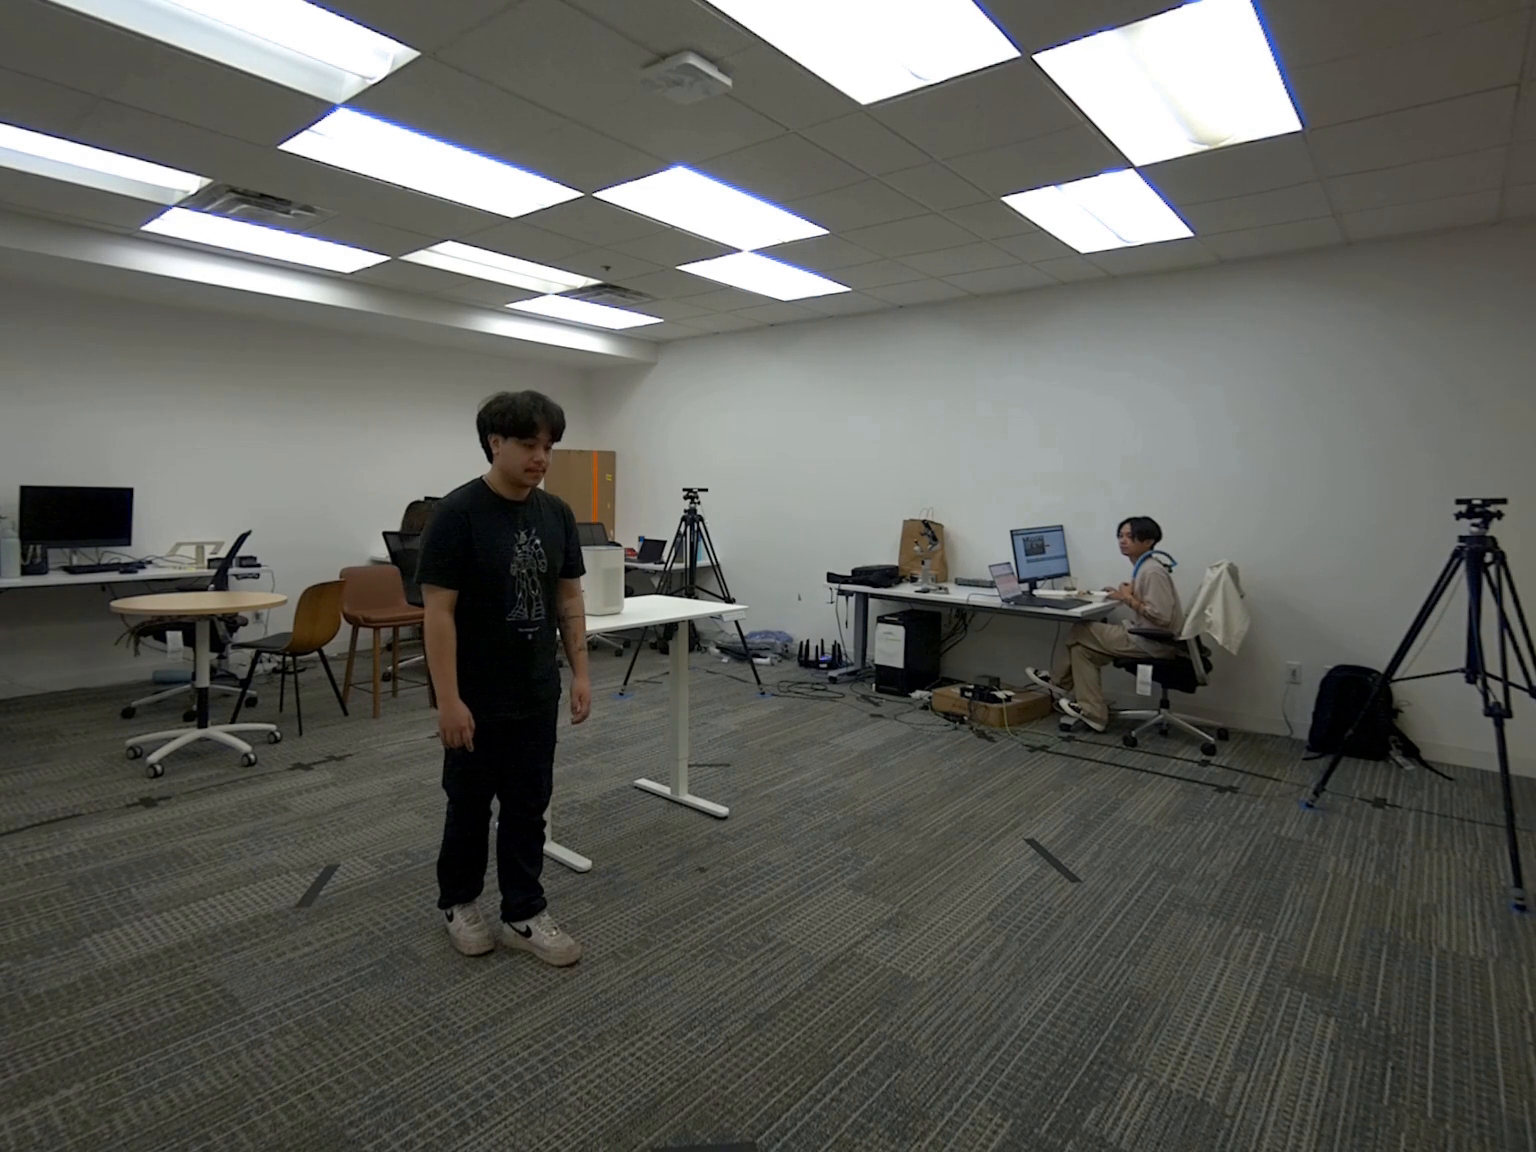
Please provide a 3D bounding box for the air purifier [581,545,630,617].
[{"bbox_3d":[-0.688,0.015,3.425,0.177,0.265,0.166,3,4,41],"label":"air purifier"}]
